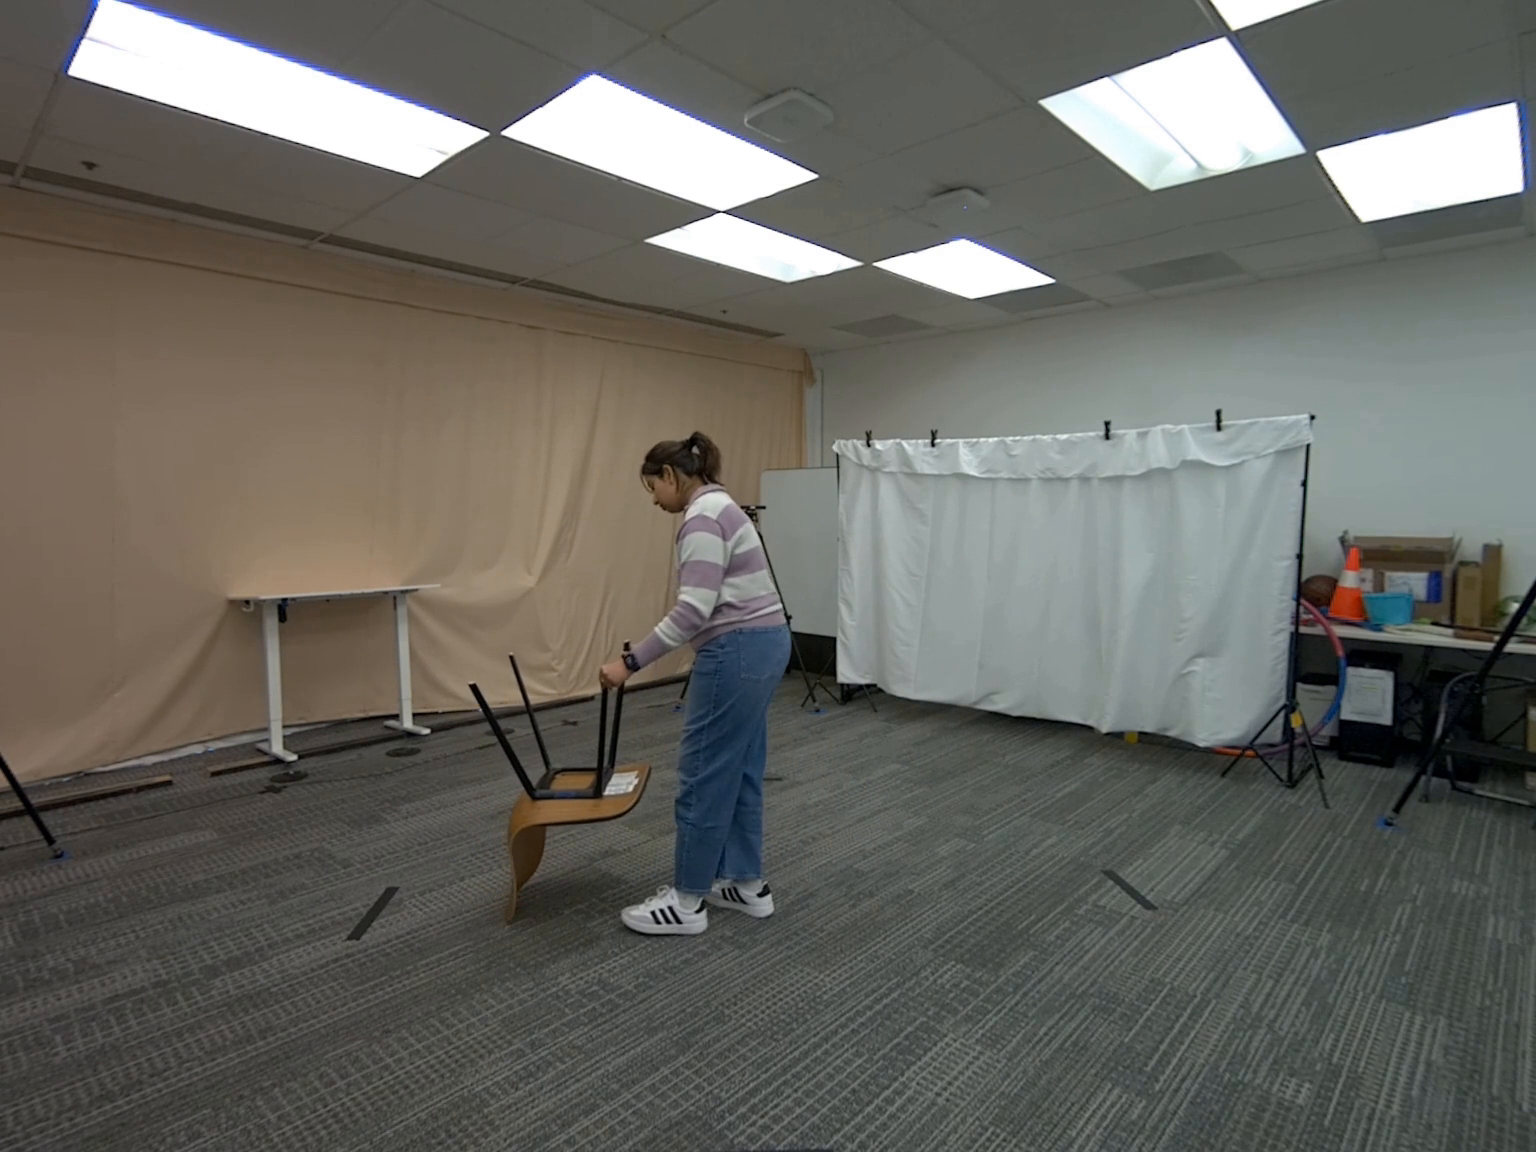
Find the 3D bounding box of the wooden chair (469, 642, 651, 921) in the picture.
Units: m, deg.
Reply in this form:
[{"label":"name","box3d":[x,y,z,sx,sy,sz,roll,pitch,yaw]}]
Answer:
[{"label":"wooden chair","box3d":[-0.673,0.718,2.919,0.524,0.874,0.479,-2,5,1]}]
